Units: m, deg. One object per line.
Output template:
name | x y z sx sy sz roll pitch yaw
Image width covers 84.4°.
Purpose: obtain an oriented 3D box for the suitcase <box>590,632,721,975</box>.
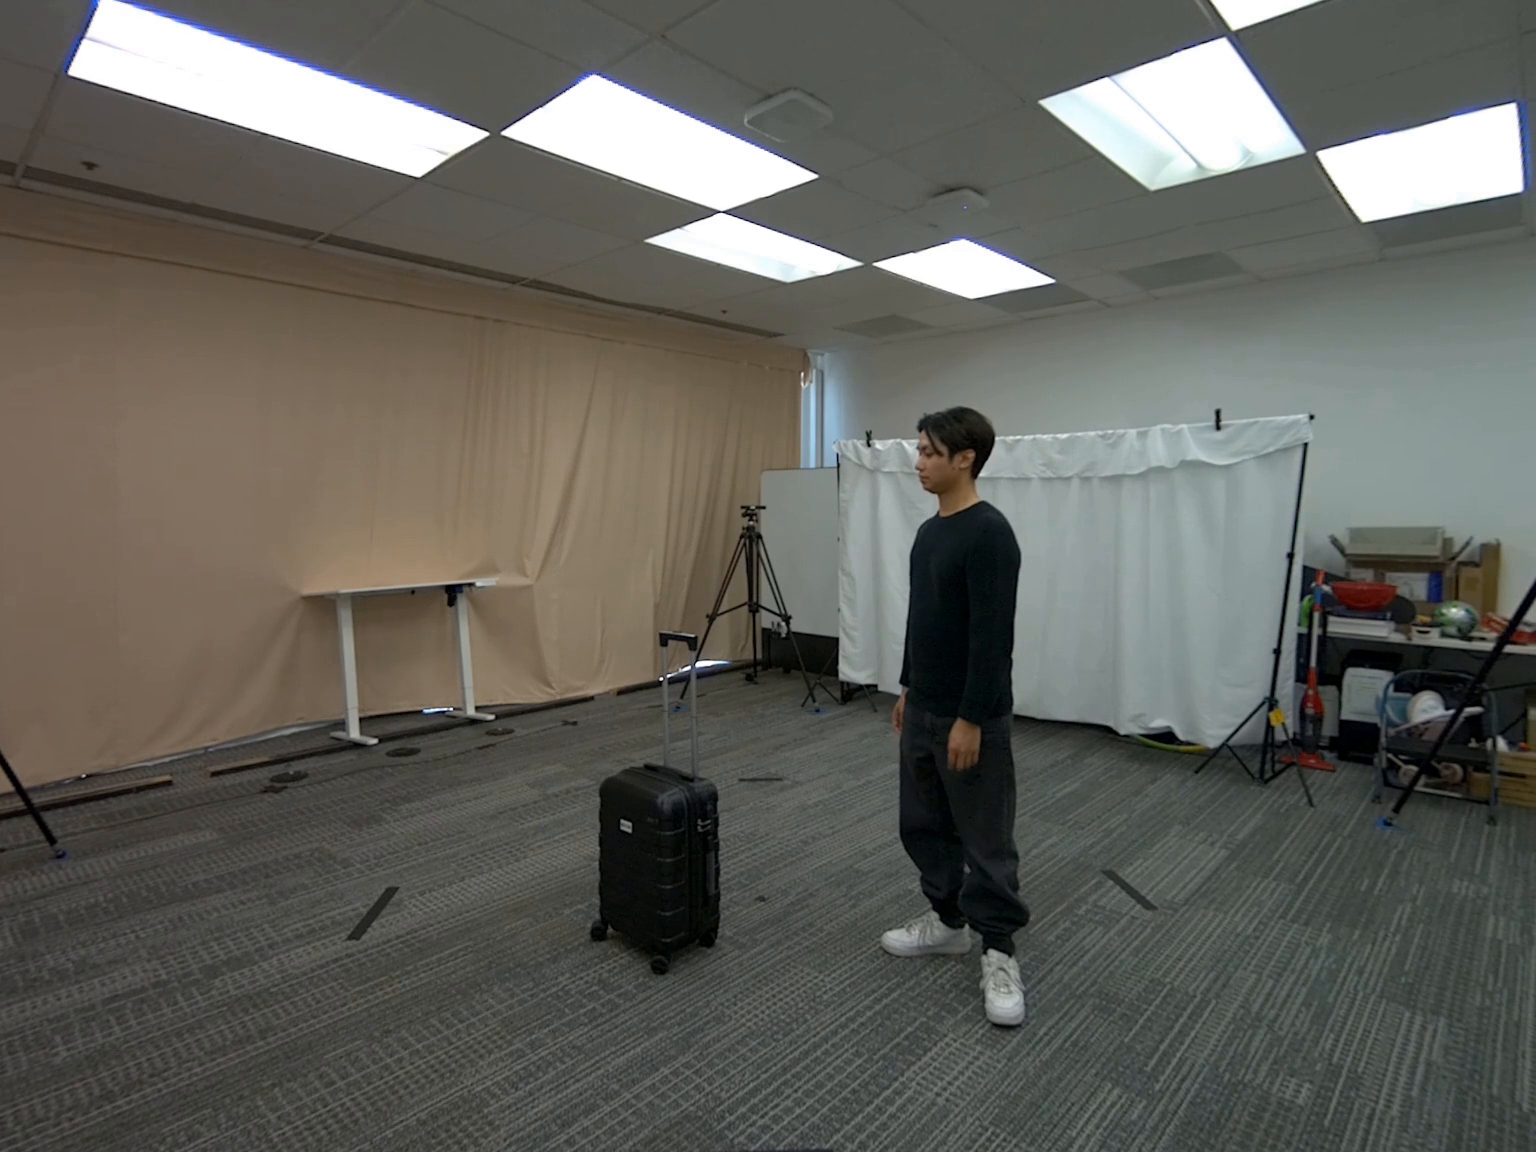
suitcase | -0.346 0.695 2.659 0.397 0.976 0.249 4 6 42
